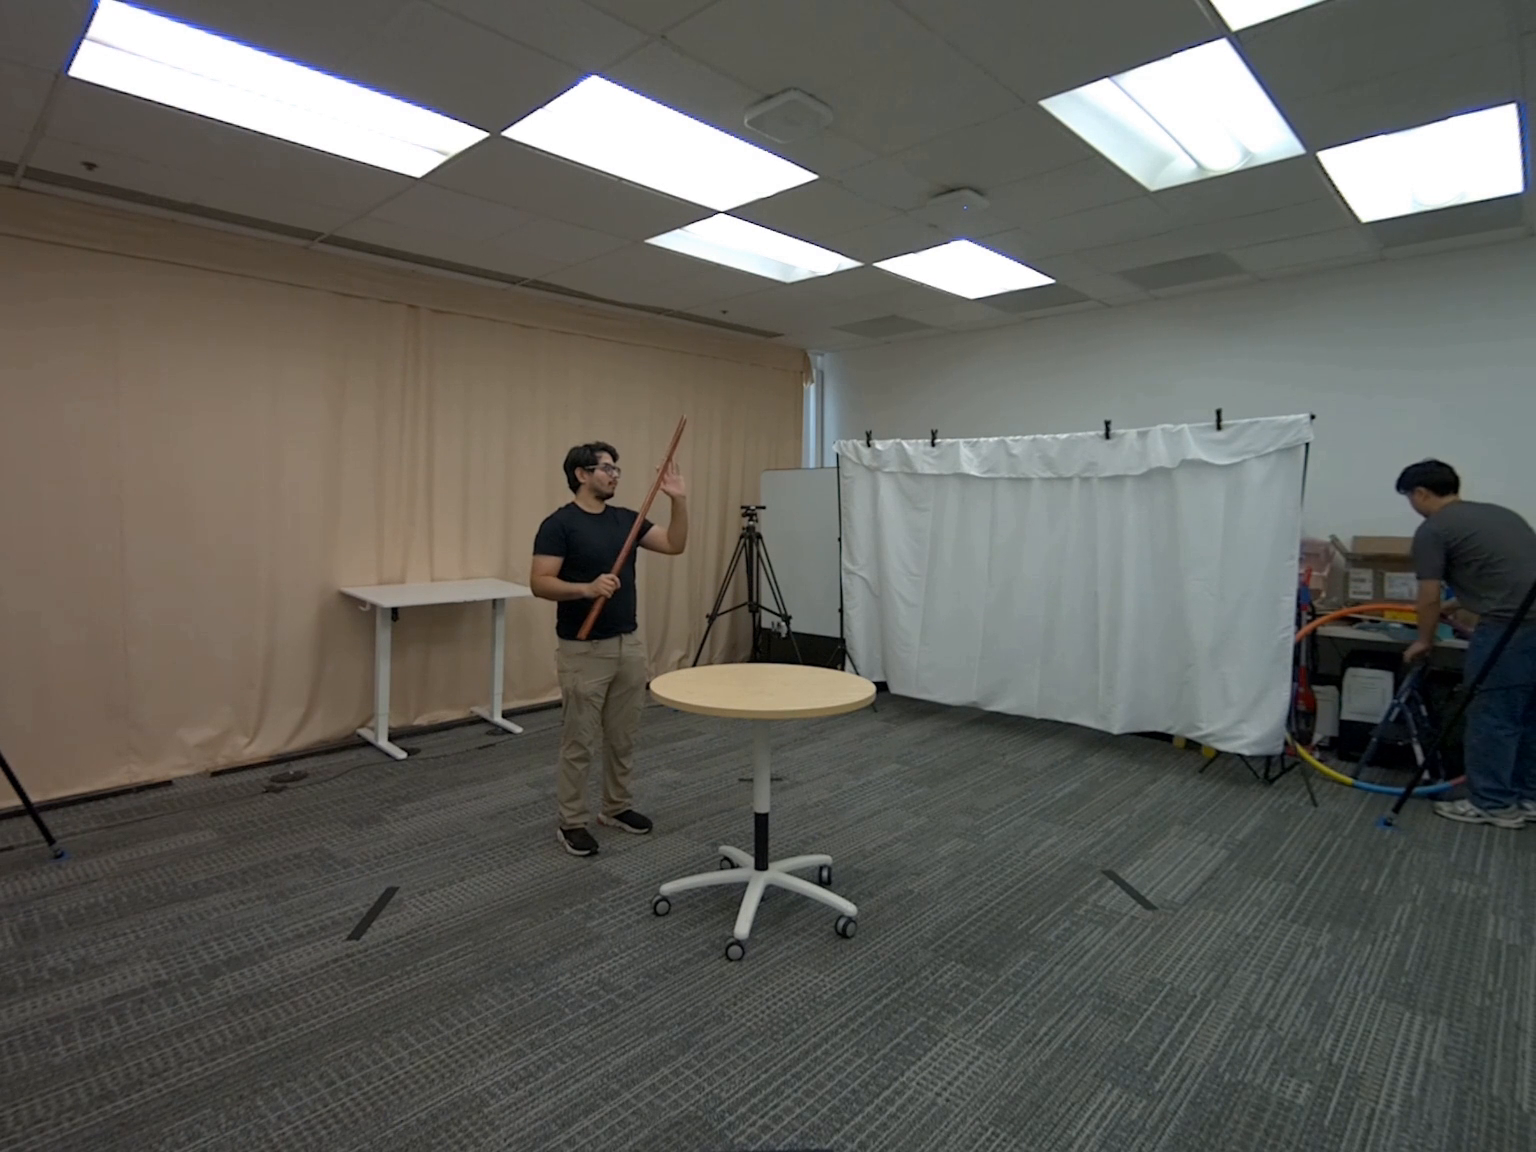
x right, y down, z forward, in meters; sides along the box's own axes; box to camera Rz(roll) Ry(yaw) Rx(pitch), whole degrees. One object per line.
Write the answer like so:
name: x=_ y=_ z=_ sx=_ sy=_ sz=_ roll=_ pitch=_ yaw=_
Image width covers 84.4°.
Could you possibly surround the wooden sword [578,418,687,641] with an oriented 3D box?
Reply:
wooden sword: x=-0.495 y=-0.205 z=3.276 sx=0.023 sy=1.029 sz=0.052 roll=31 pitch=-24 yaw=-28
